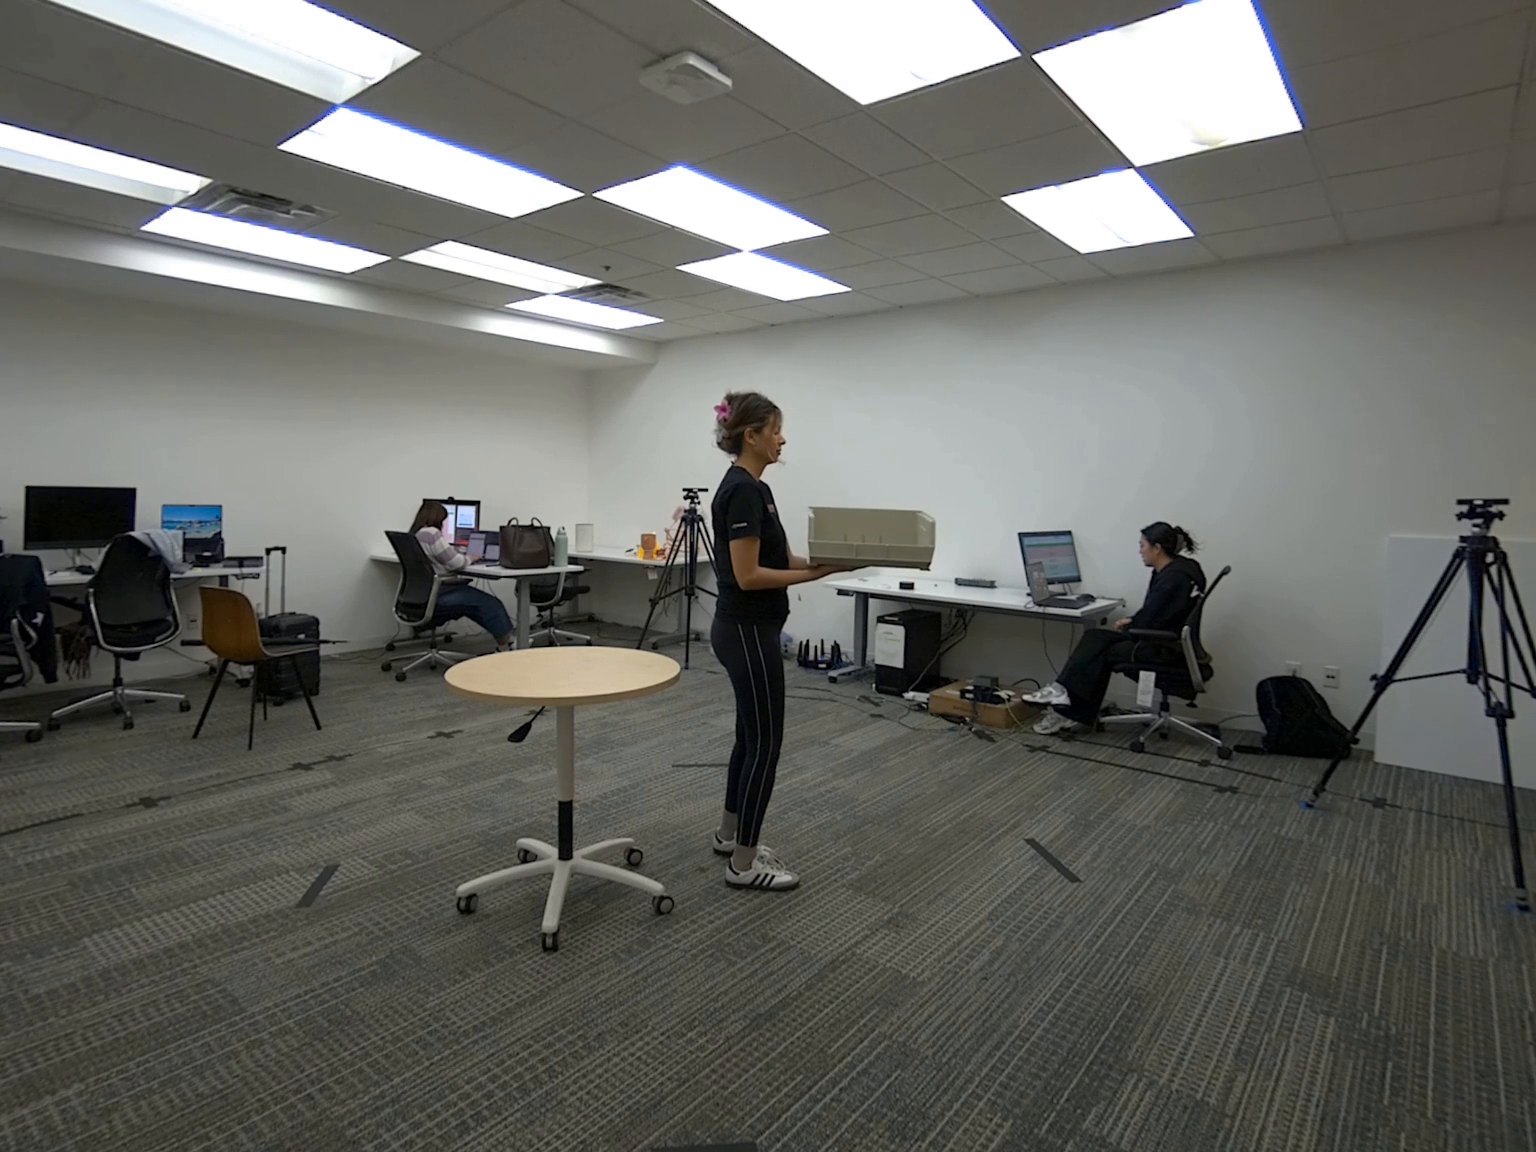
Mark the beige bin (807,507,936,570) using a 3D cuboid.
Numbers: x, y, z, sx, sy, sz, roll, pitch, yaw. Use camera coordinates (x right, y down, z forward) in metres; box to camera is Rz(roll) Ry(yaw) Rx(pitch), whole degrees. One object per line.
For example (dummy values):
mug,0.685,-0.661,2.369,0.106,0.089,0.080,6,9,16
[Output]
beige bin,0.343,-0.135,2.990,0.425,0.187,0.378,2,9,4
